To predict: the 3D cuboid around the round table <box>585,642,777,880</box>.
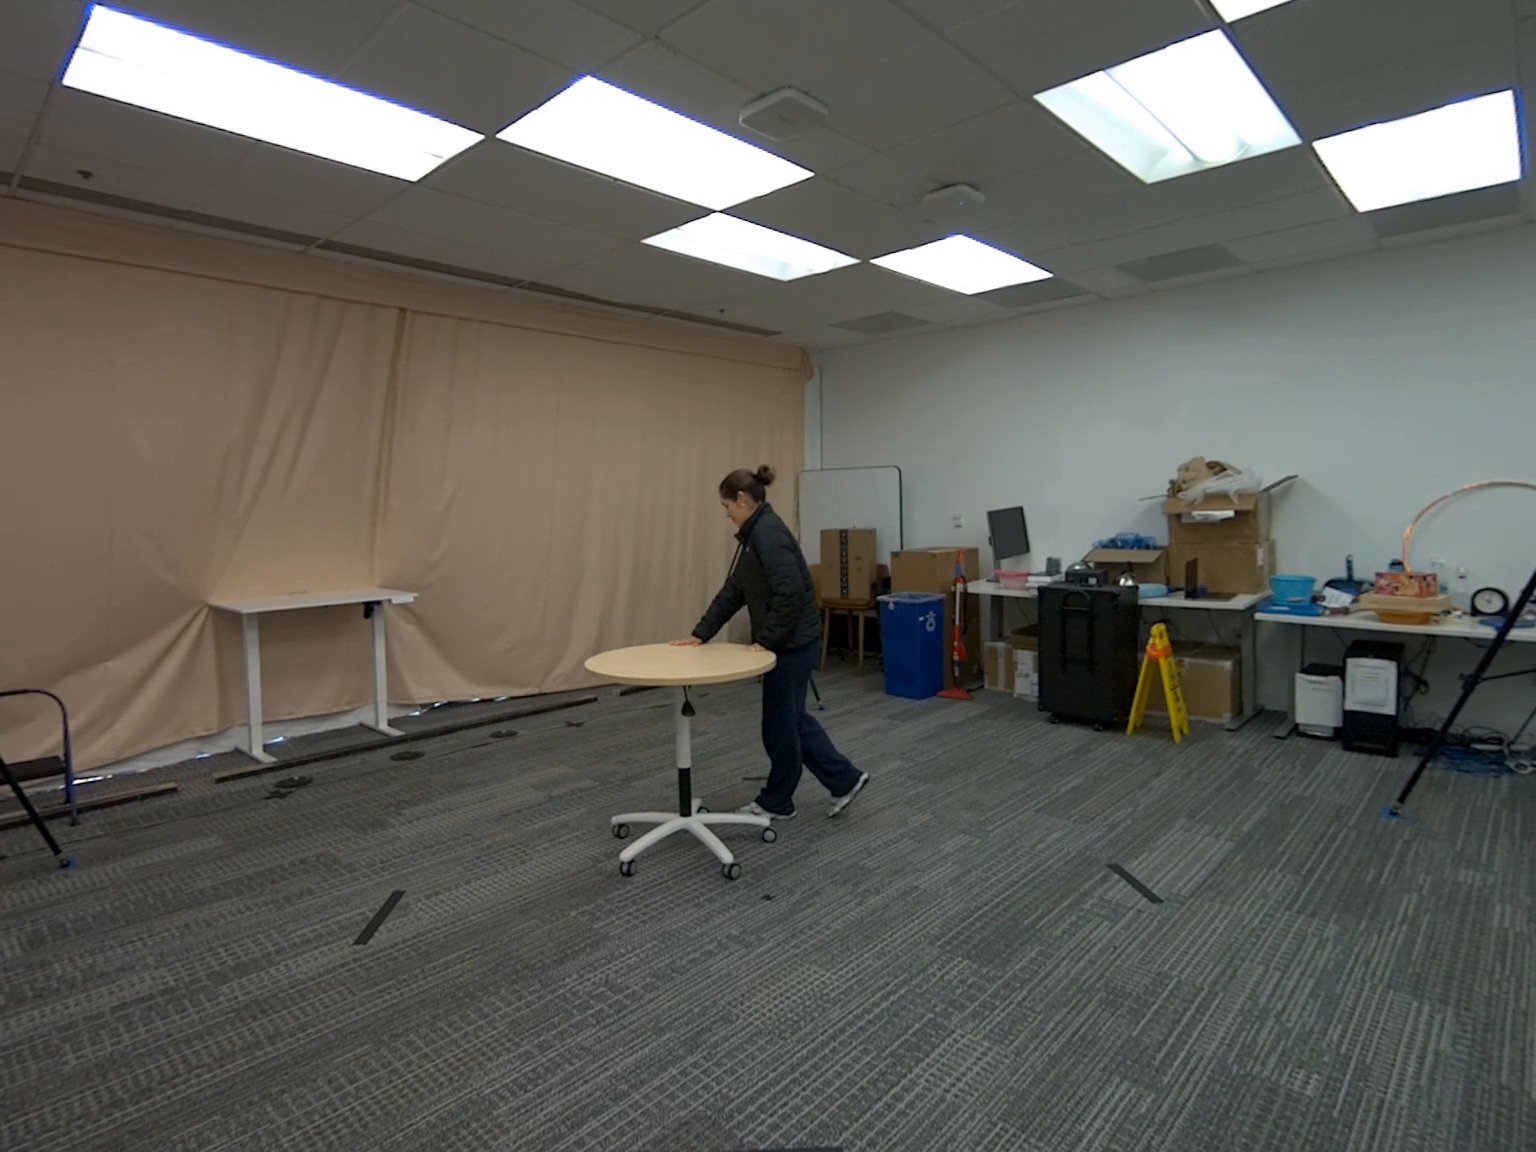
[{"bbox_3d":[-0.324,0.718,3.412,0.784,0.785,0.788,-1,4,-2],"label":"round table"}]
